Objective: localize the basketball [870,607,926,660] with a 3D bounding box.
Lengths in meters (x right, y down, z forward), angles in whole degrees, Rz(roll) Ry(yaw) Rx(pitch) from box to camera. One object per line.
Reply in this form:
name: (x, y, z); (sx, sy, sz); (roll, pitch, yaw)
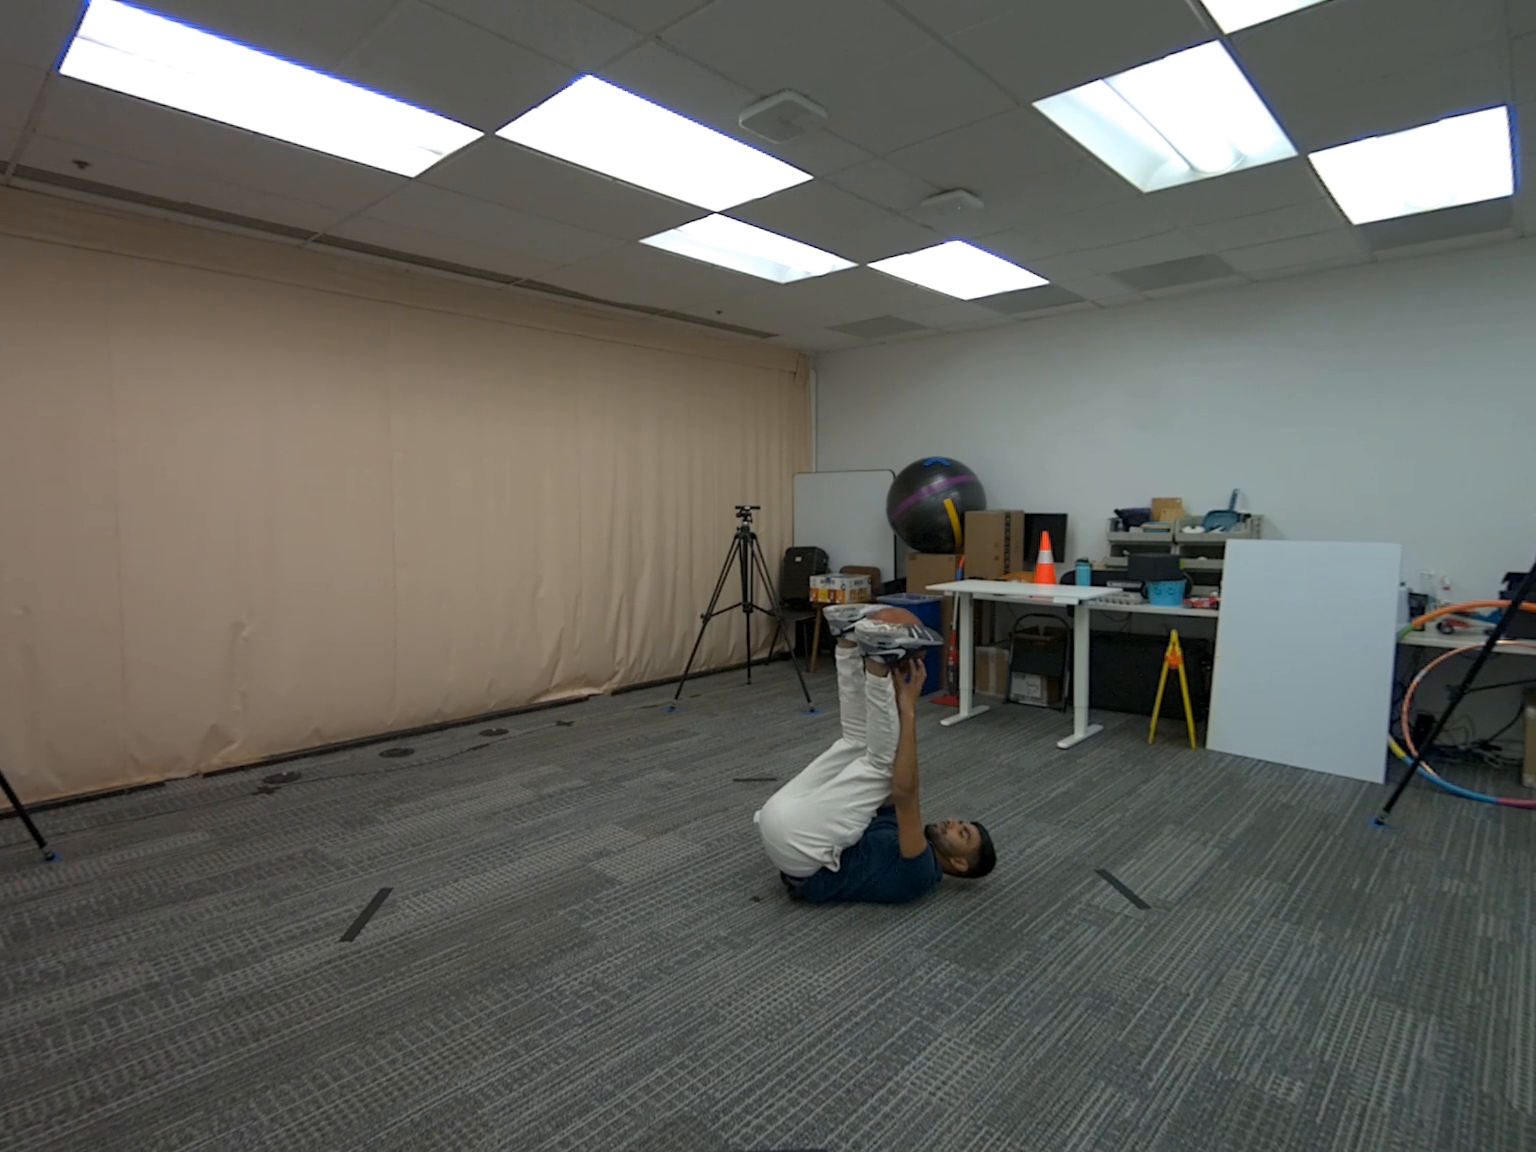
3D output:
basketball: (0.443, 0.225, 2.982); (0.236, 0.235, 0.237); (0, 4, -2)
